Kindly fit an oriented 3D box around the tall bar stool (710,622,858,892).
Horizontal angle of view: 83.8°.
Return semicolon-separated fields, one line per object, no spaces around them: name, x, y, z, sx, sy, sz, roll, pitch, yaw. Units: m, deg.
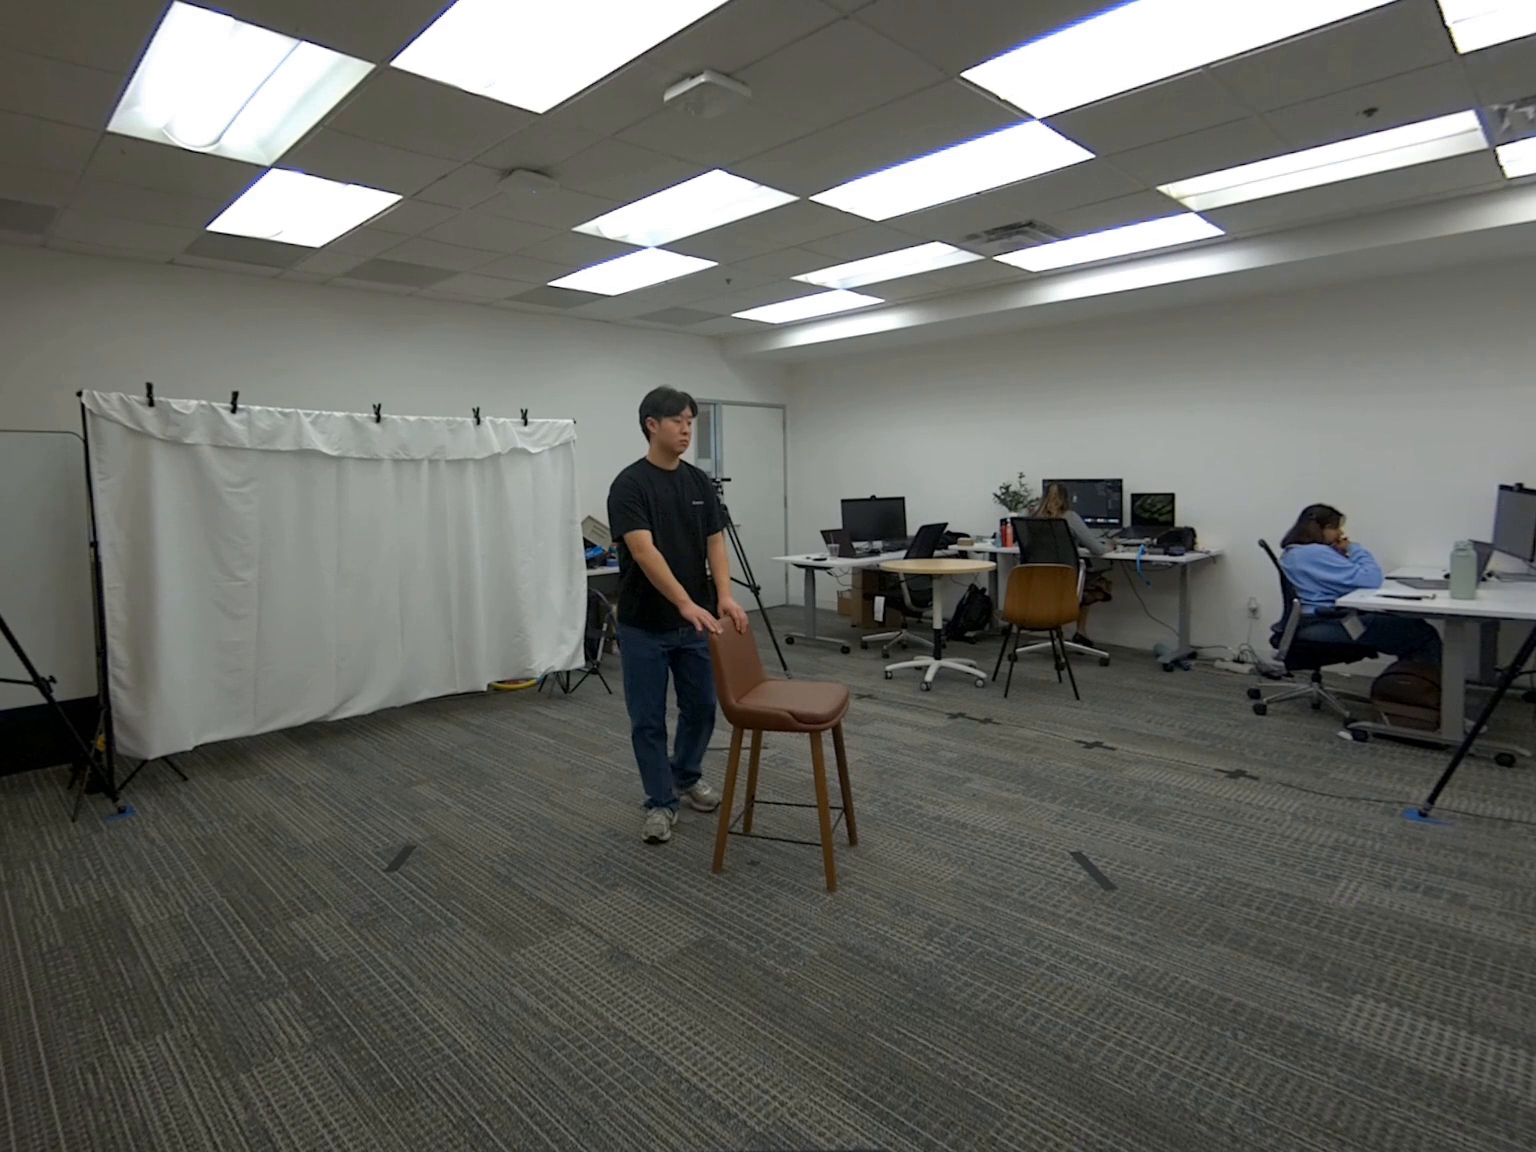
tall bar stool;0.056;0.603;3.114;0.476;0.887;0.449;-2;3;20
